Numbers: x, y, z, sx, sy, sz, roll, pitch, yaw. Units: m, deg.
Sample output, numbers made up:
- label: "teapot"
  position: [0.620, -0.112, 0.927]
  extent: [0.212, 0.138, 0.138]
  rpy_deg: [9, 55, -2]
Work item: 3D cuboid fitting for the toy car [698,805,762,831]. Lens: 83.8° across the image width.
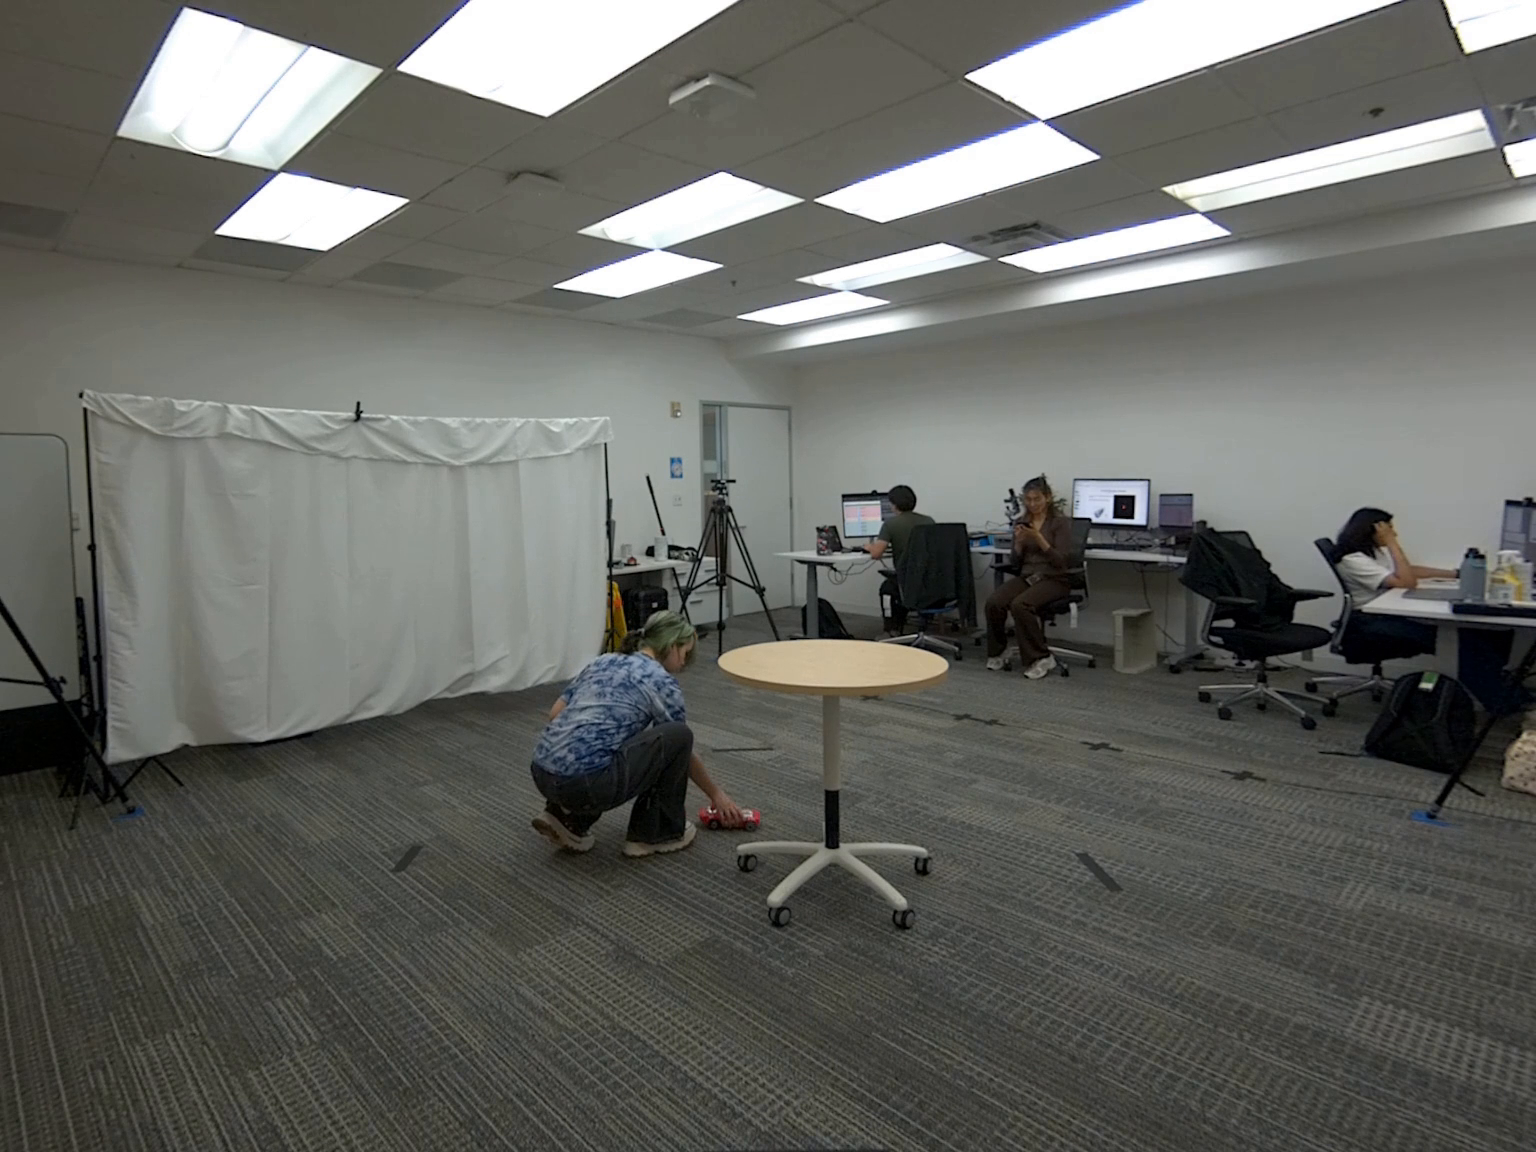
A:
- label: "toy car"
  position: [-0.168, 0.976, 3.458]
  extent: [0.255, 0.083, 0.130]
  rpy_deg: [10, 6, 1]
